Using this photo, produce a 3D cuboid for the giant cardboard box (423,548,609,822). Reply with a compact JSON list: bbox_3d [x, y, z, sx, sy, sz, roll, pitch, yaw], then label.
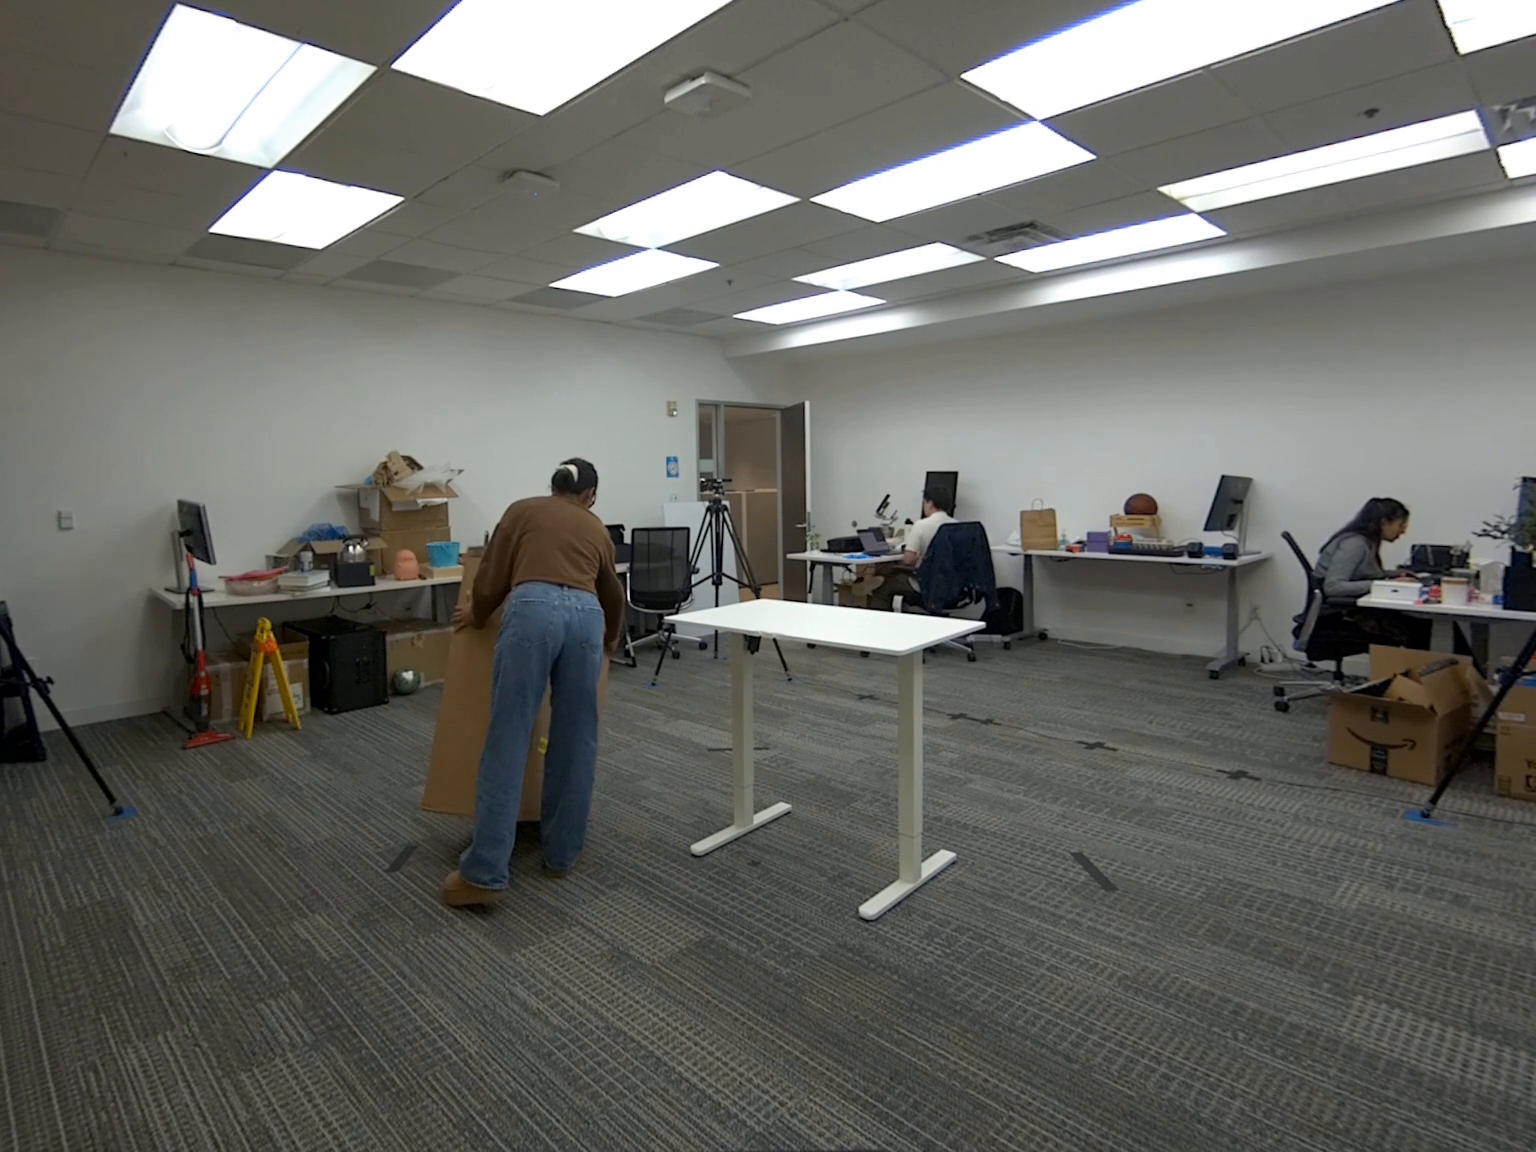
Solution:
[{"bbox_3d":[-0.976,0.443,3.498,0.433,1.039,0.561,1,-16,15],"label":"giant cardboard box"}]
